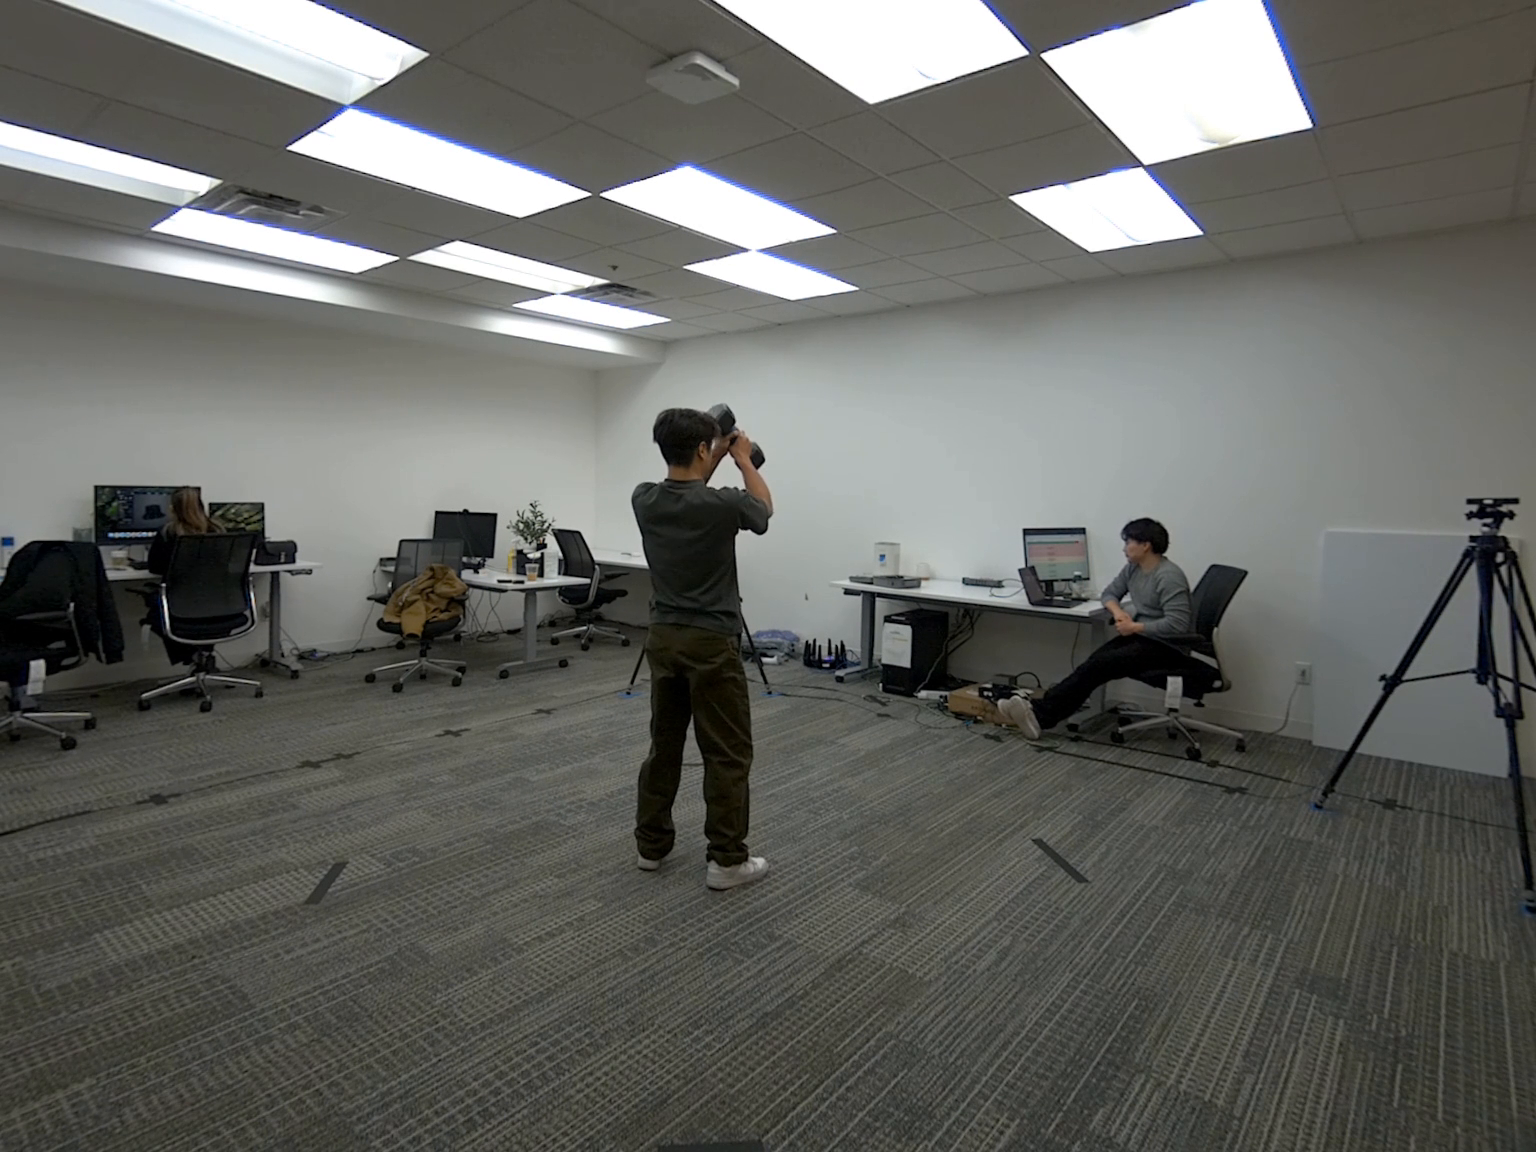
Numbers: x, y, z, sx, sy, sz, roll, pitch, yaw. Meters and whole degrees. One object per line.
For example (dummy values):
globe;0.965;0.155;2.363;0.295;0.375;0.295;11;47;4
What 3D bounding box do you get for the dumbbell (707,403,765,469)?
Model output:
dumbbell;-0.137;-0.532;3.300;0.109;0.282;0.127;-32;34;13
